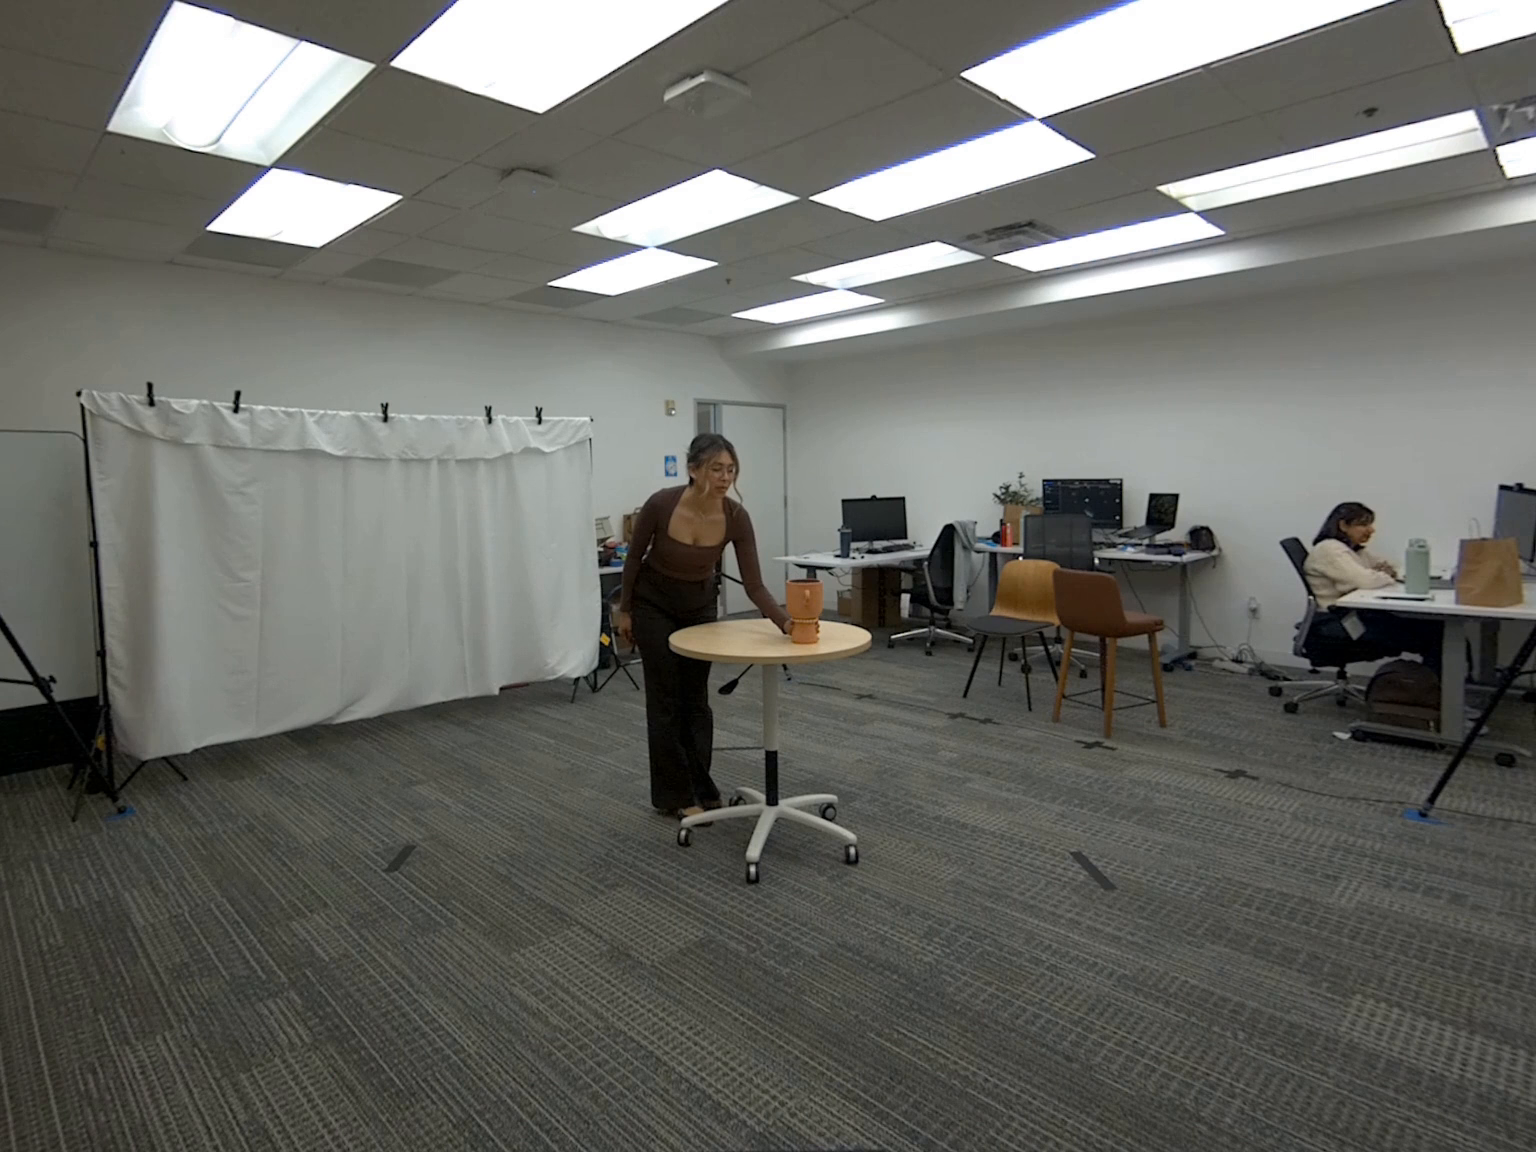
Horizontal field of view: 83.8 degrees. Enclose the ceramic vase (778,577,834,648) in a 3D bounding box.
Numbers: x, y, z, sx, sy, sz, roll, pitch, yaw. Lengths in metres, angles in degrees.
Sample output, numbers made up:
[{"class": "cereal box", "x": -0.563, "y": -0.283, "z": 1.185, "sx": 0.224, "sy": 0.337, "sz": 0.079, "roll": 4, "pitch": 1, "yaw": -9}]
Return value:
[{"class": "ceramic vase", "x": 0.138, "y": 0.126, "z": 3.108, "sx": 0.138, "sy": 0.218, "sz": 0.155, "roll": 3, "pitch": 8, "yaw": 35}]
